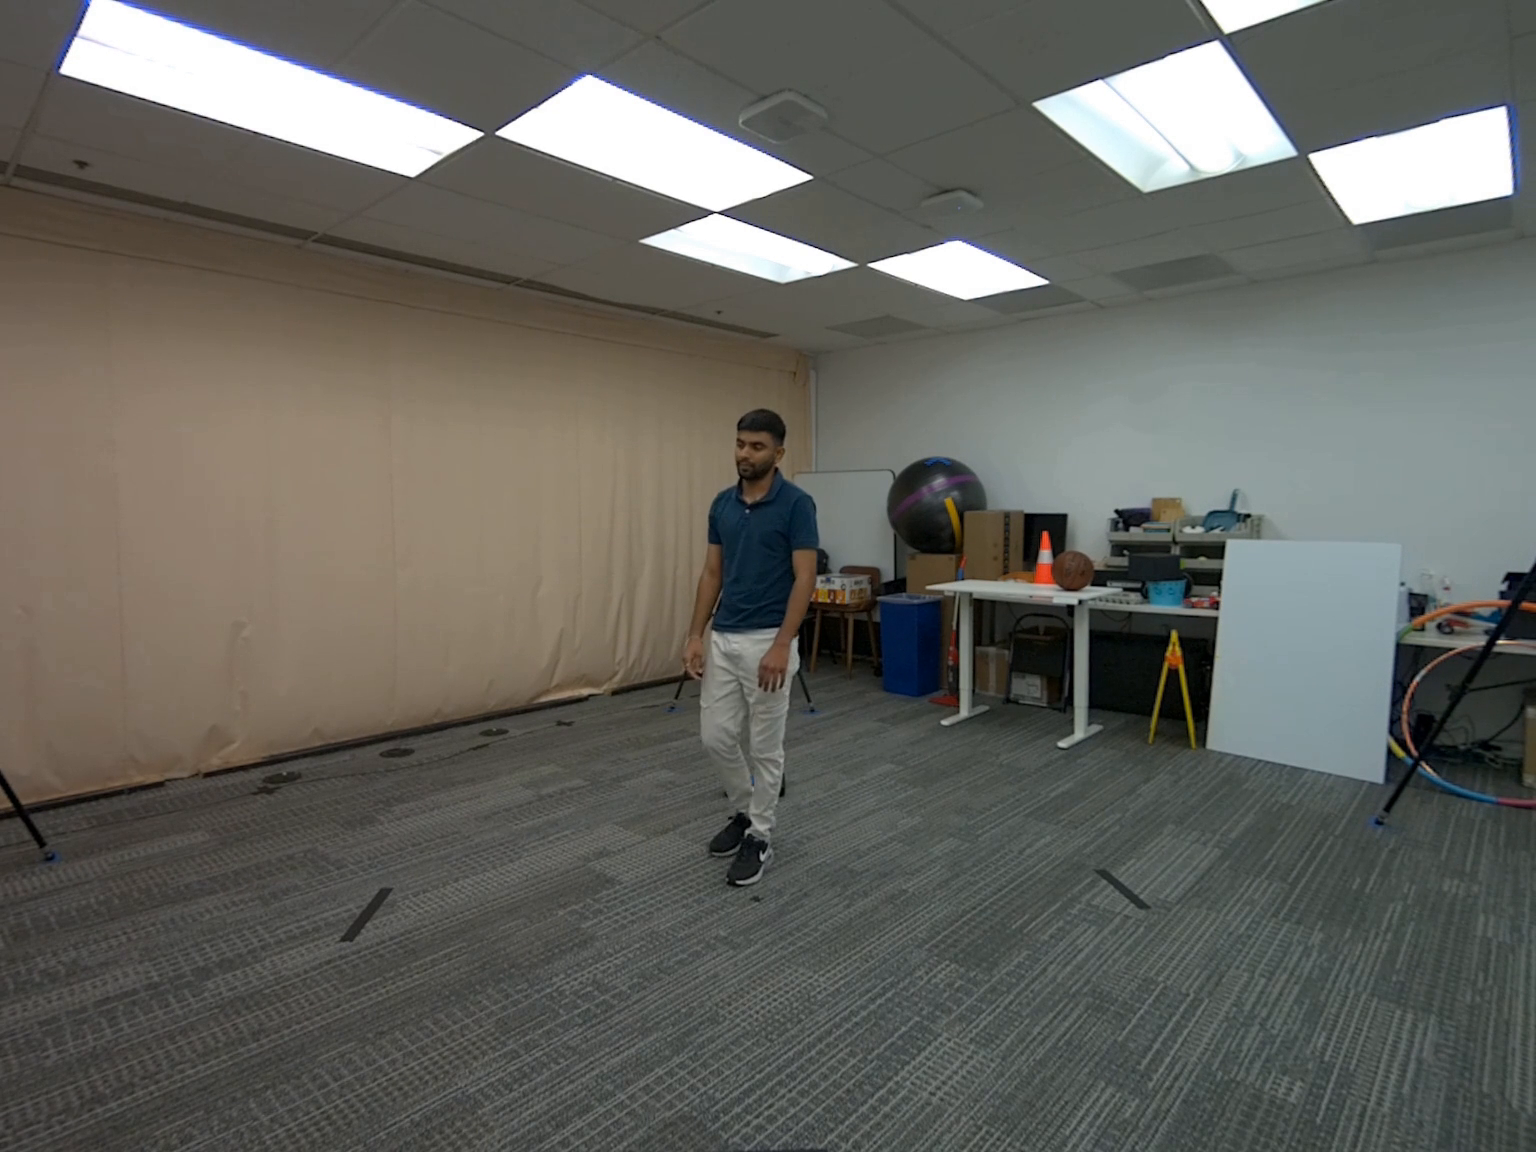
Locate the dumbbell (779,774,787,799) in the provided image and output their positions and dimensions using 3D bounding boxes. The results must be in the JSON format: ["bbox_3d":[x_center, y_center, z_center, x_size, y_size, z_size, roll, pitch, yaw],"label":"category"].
[{"bbox_3d":[-0.066,1.004,4.067,0.293,0.108,0.123,-1,5,-1],"label":"dumbbell"}]
